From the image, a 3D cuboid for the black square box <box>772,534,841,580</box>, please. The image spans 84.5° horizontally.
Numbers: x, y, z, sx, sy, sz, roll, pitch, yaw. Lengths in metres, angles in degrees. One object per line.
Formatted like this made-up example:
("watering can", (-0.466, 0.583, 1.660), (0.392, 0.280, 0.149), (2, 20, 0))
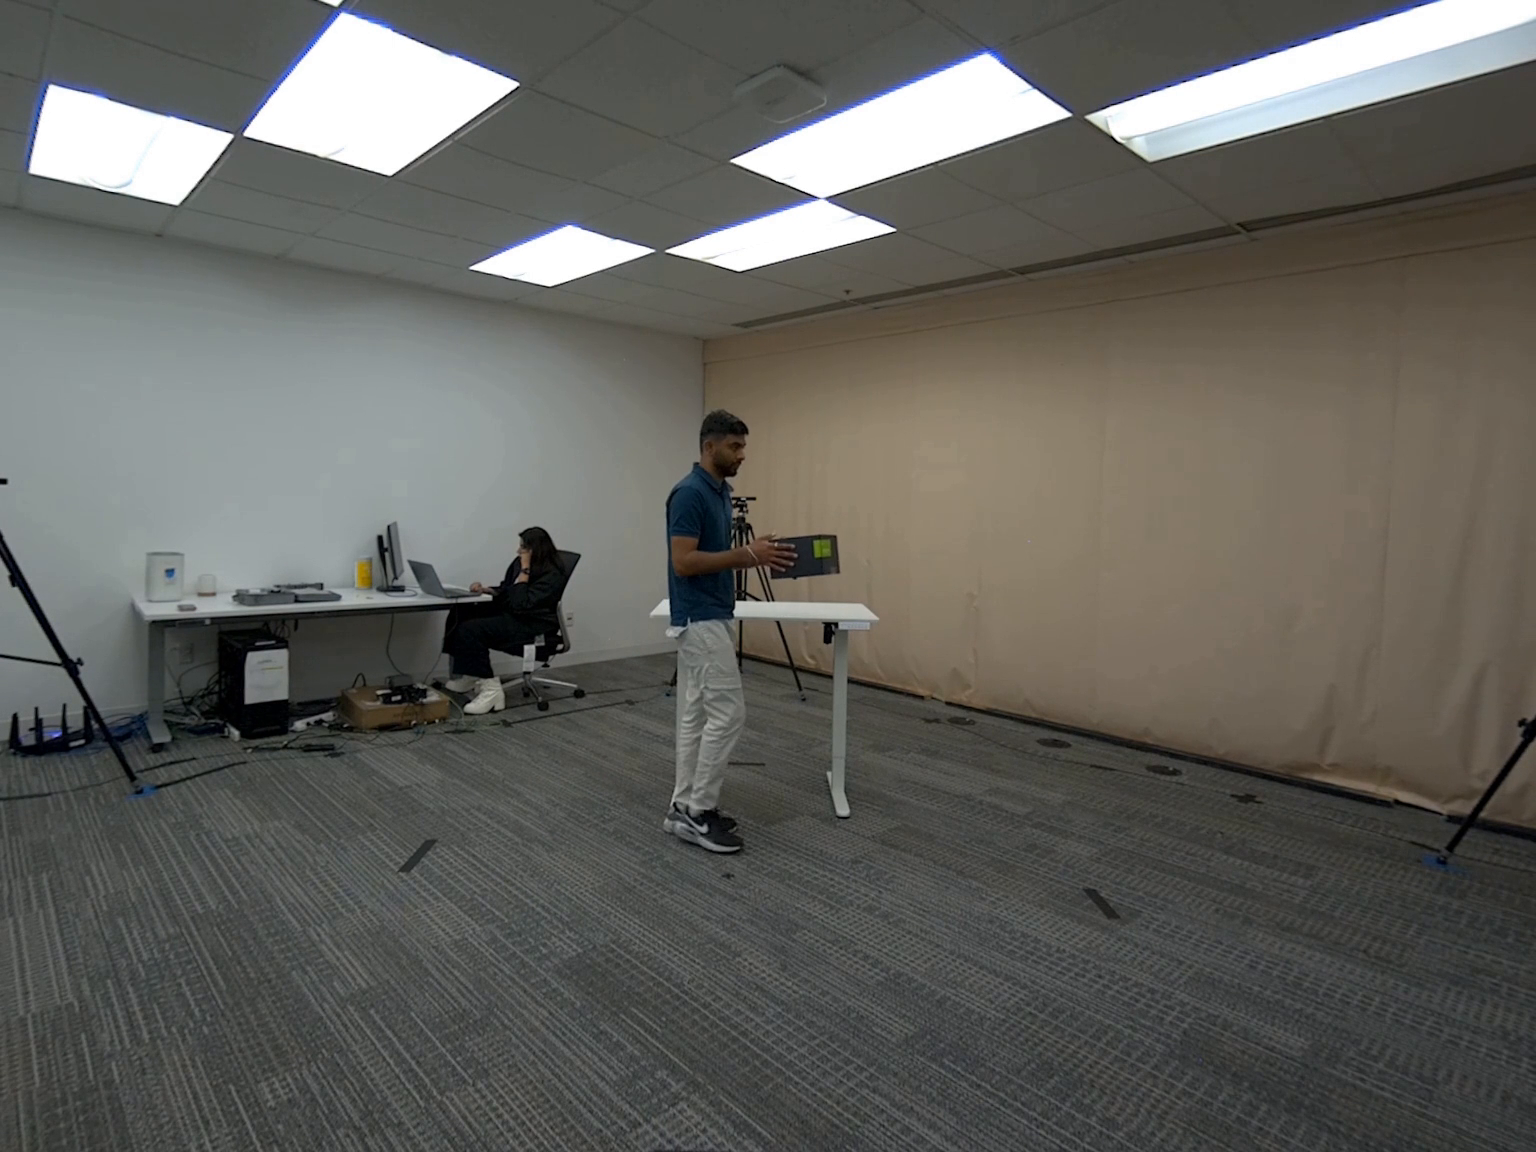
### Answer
("black square box", (0.139, -0.076, 3.322), (0.220, 0.156, 0.224), (-5, -1, 22))
